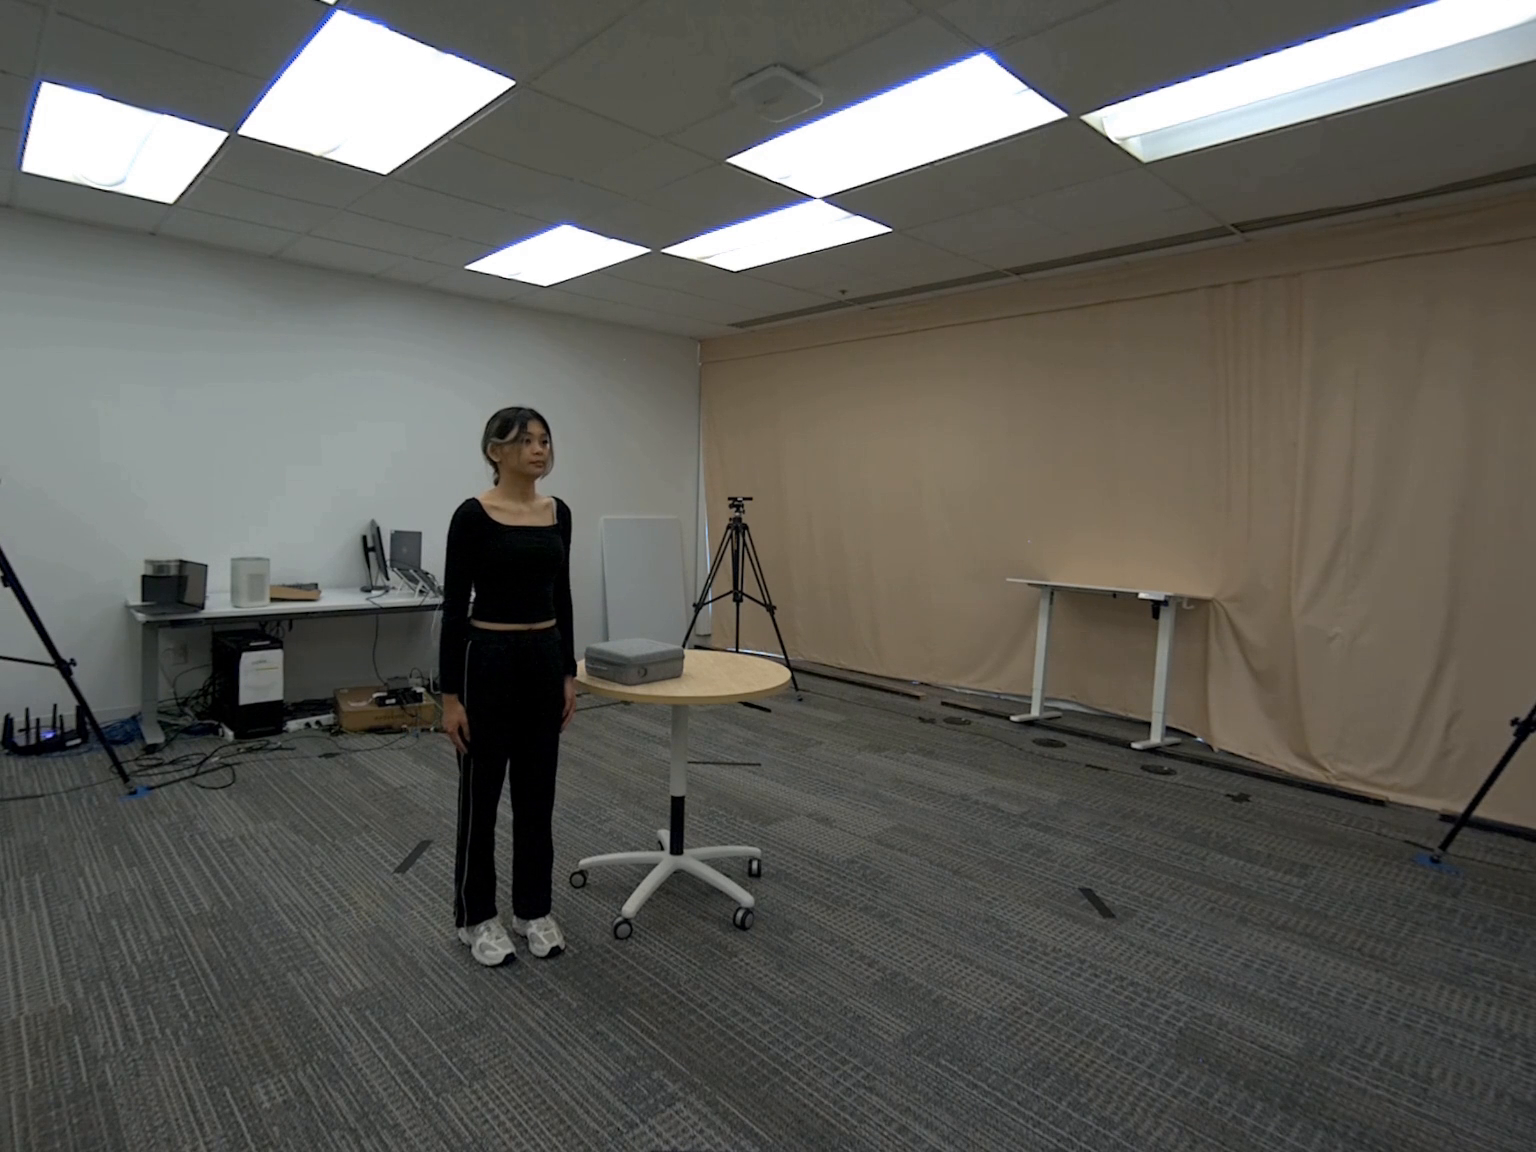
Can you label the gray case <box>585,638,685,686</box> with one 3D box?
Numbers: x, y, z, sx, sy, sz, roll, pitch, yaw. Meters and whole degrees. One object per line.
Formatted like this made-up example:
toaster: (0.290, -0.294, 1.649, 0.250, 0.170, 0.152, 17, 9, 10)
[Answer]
gray case: (-0.455, 0.276, 2.809, 0.264, 0.104, 0.255, 8, 9, 44)
